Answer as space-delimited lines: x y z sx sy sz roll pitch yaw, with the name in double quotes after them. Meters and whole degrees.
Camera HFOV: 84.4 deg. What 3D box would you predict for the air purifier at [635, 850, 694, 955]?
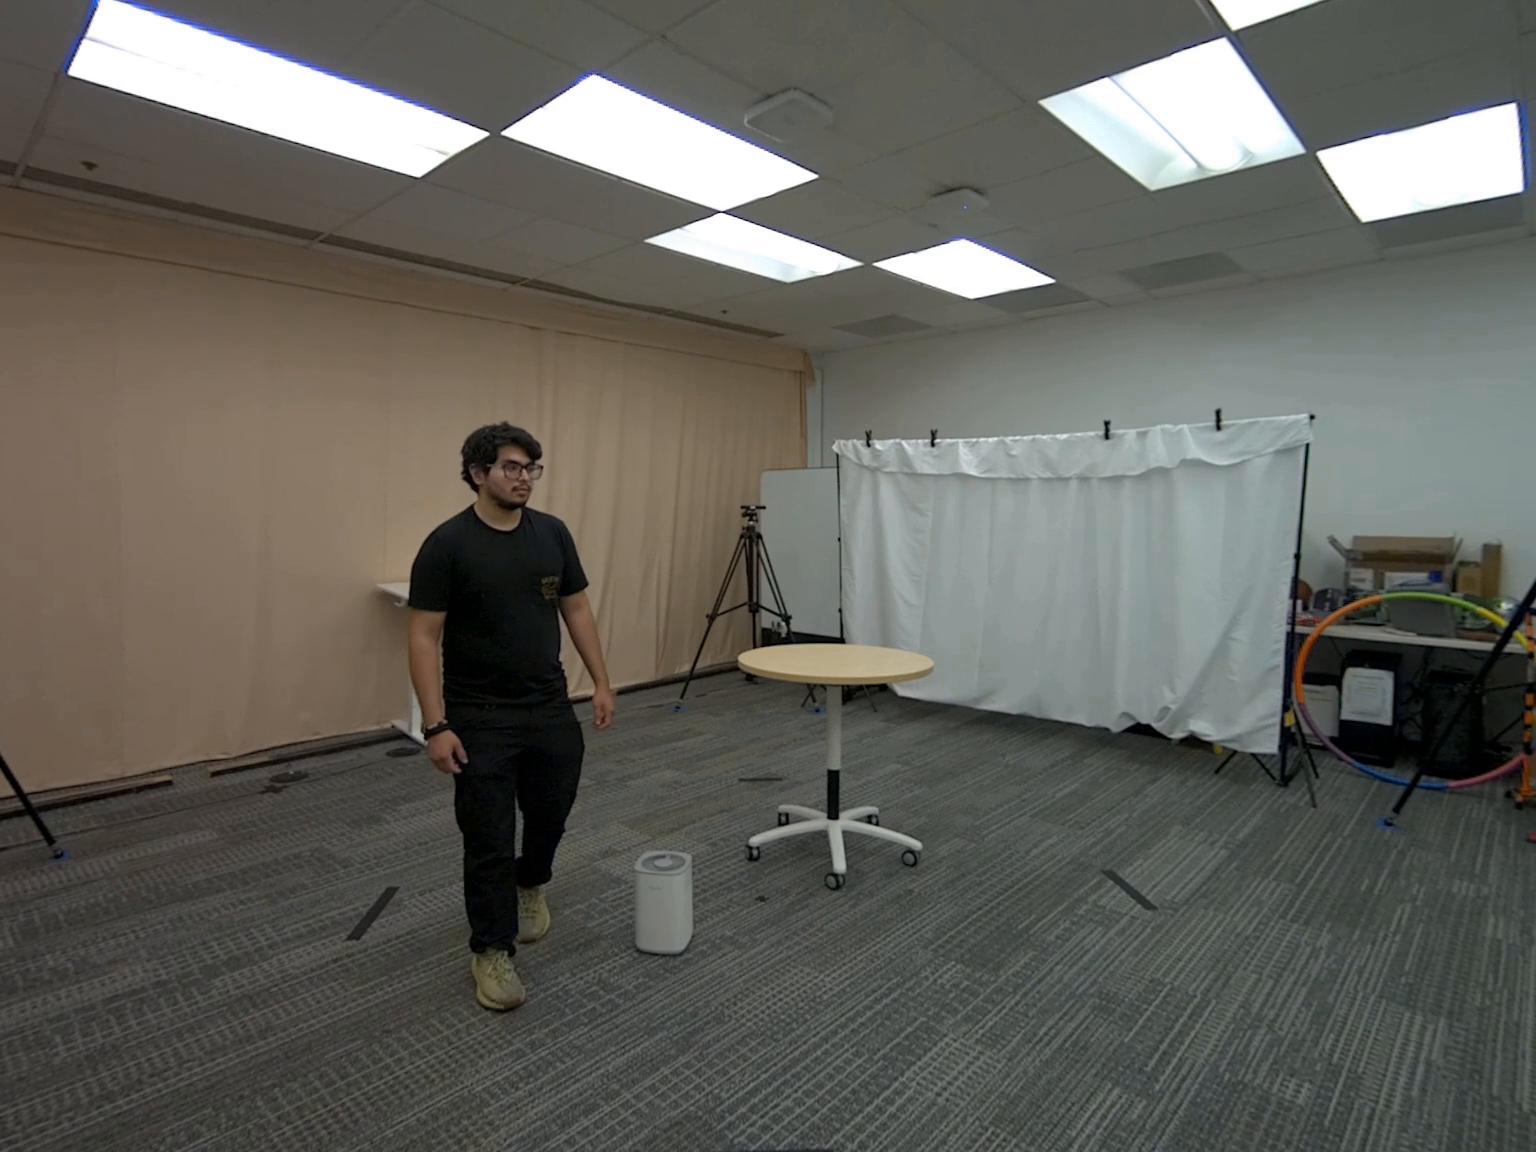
-0.330 1.038 2.666 0.171 0.262 0.171 1 3 13 "air purifier"
